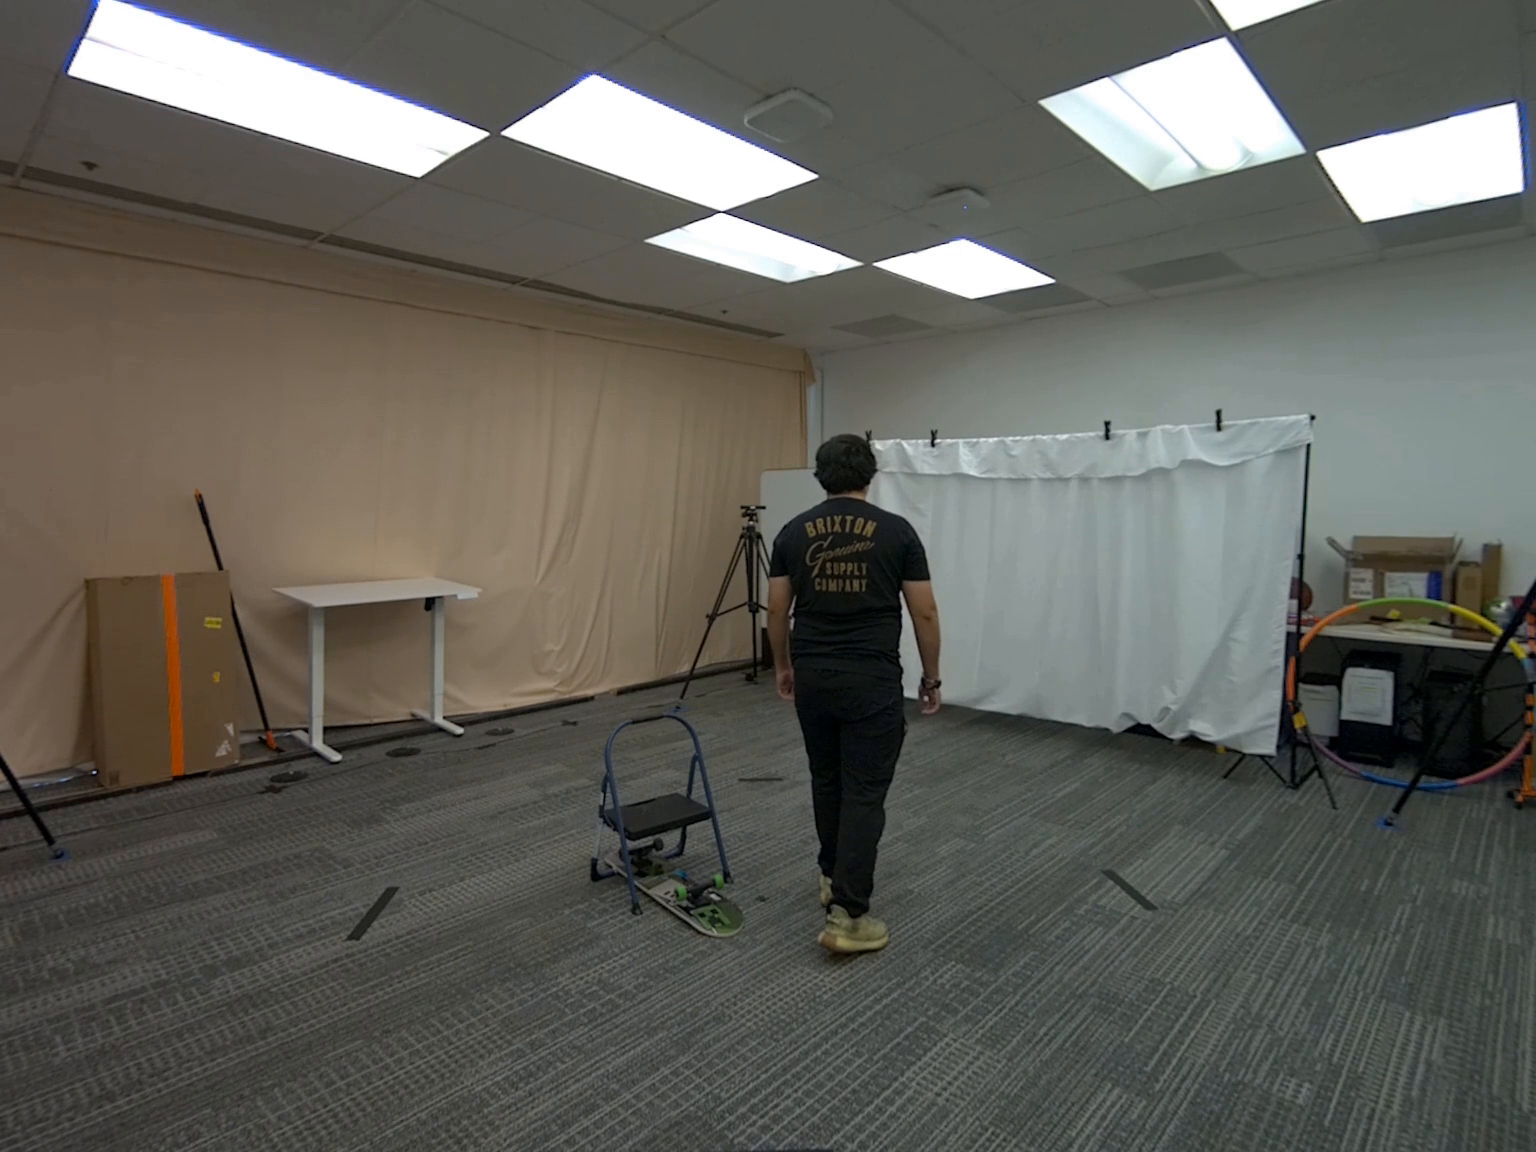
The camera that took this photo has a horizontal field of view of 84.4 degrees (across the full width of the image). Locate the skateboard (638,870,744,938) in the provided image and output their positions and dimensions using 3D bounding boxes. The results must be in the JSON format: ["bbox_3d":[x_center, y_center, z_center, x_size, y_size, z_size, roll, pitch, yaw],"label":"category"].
[{"bbox_3d":[-0.365,1.092,3.044,0.187,0.110,0.811,-3,6,-39],"label":"skateboard"}]
